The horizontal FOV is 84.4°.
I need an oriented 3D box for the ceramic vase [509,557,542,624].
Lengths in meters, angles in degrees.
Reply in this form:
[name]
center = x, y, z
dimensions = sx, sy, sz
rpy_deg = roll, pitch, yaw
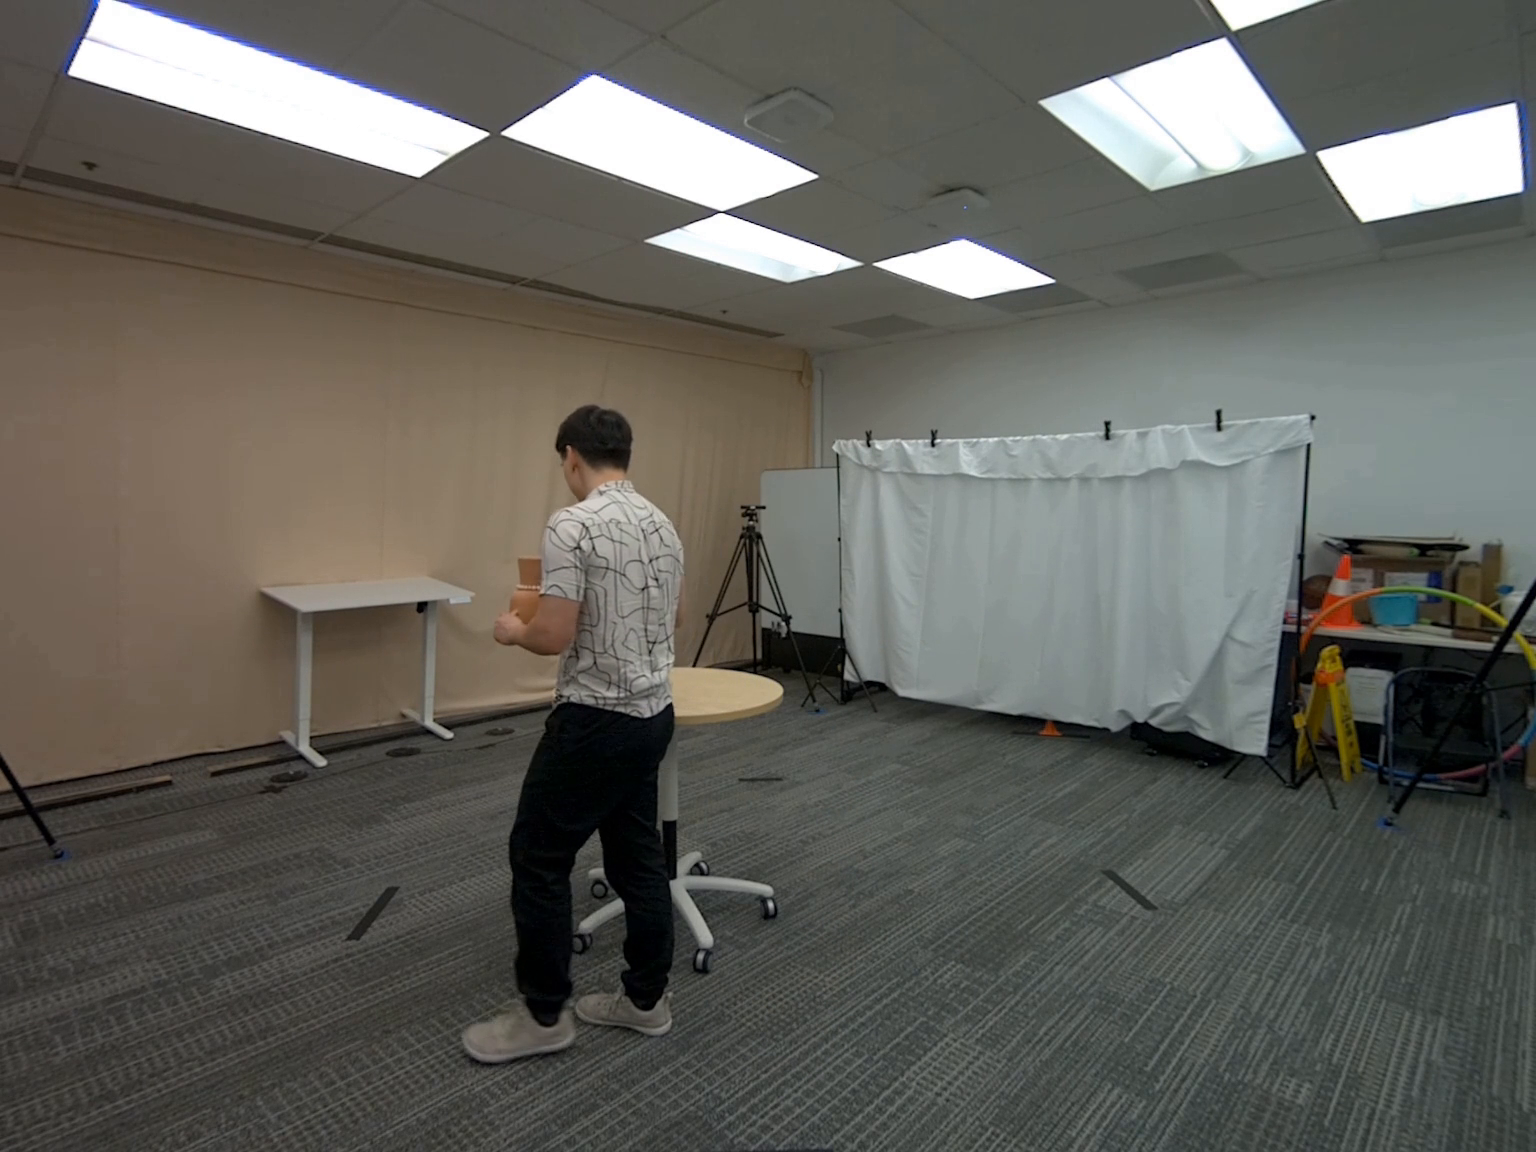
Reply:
[ceramic vase]
center = -0.646, 0.059, 2.376
dimensions = 0.133, 0.220, 0.160
rpy_deg = 1, 1, -10
